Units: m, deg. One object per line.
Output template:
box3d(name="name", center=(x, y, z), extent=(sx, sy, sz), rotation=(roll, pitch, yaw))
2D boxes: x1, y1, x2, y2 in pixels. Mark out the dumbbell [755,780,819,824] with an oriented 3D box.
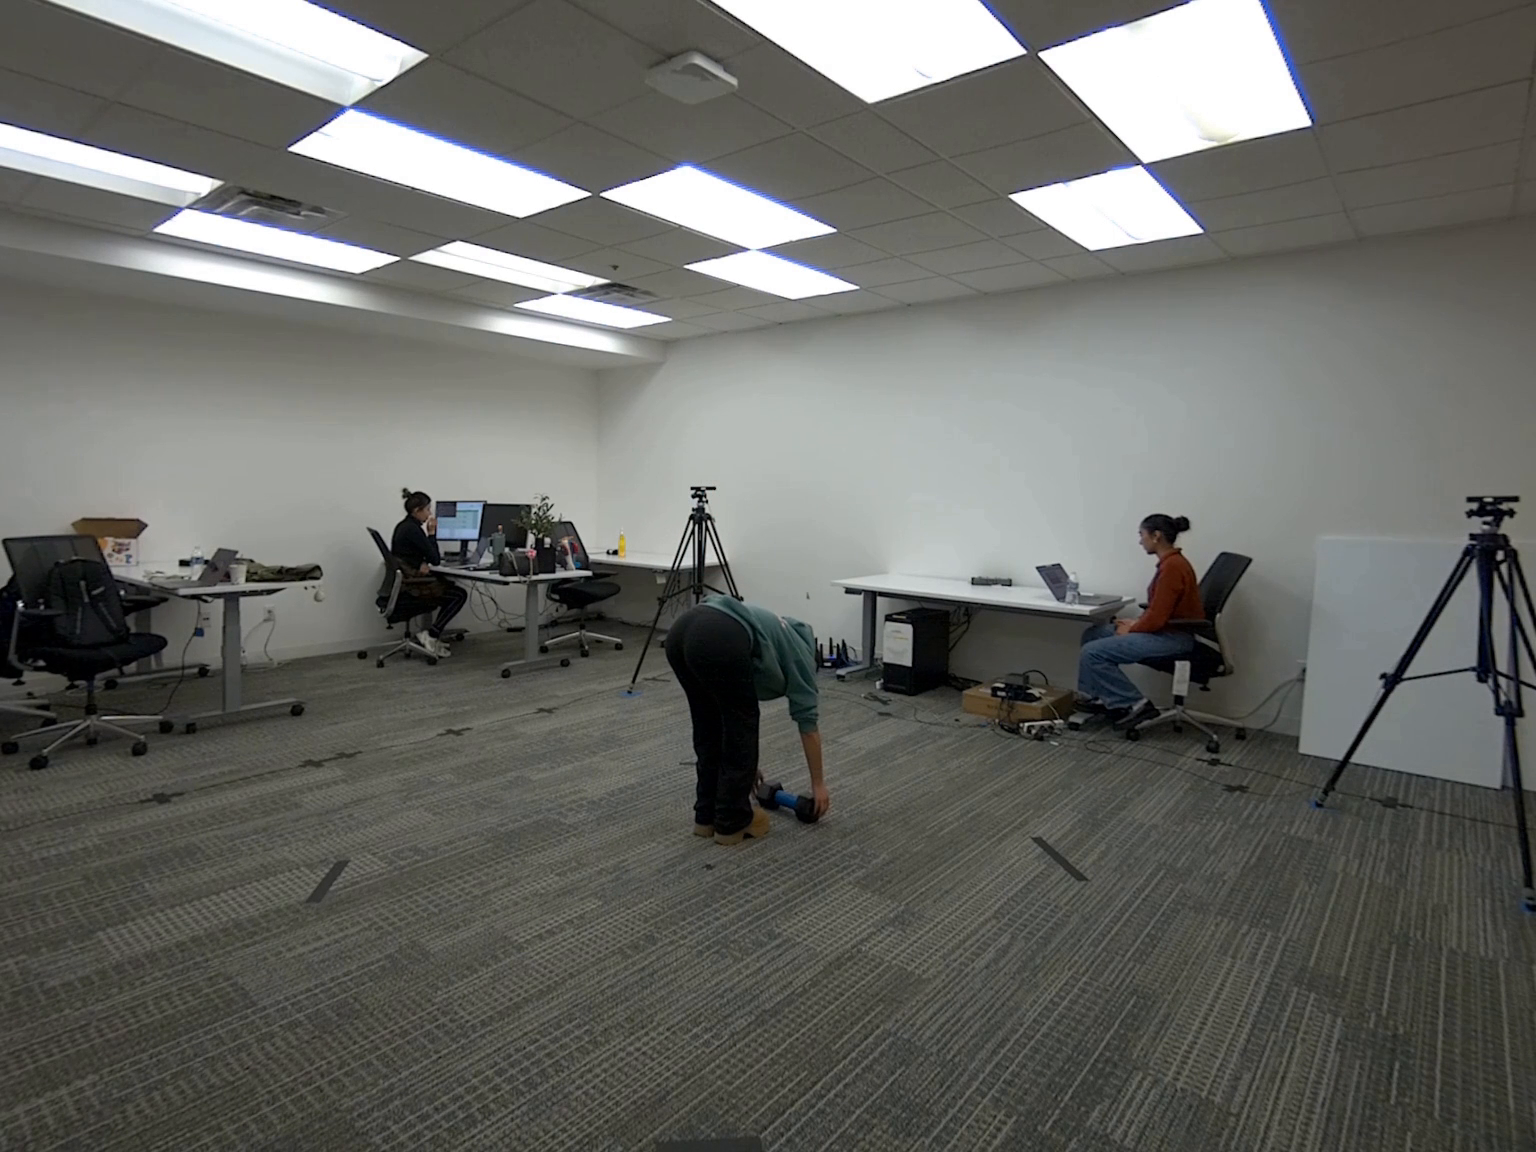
box3d(name="dumbbell", center=(0.080, 0.962, 3.652), extent=(0.304, 0.124, 0.104), rotation=(6, -25, 43))
